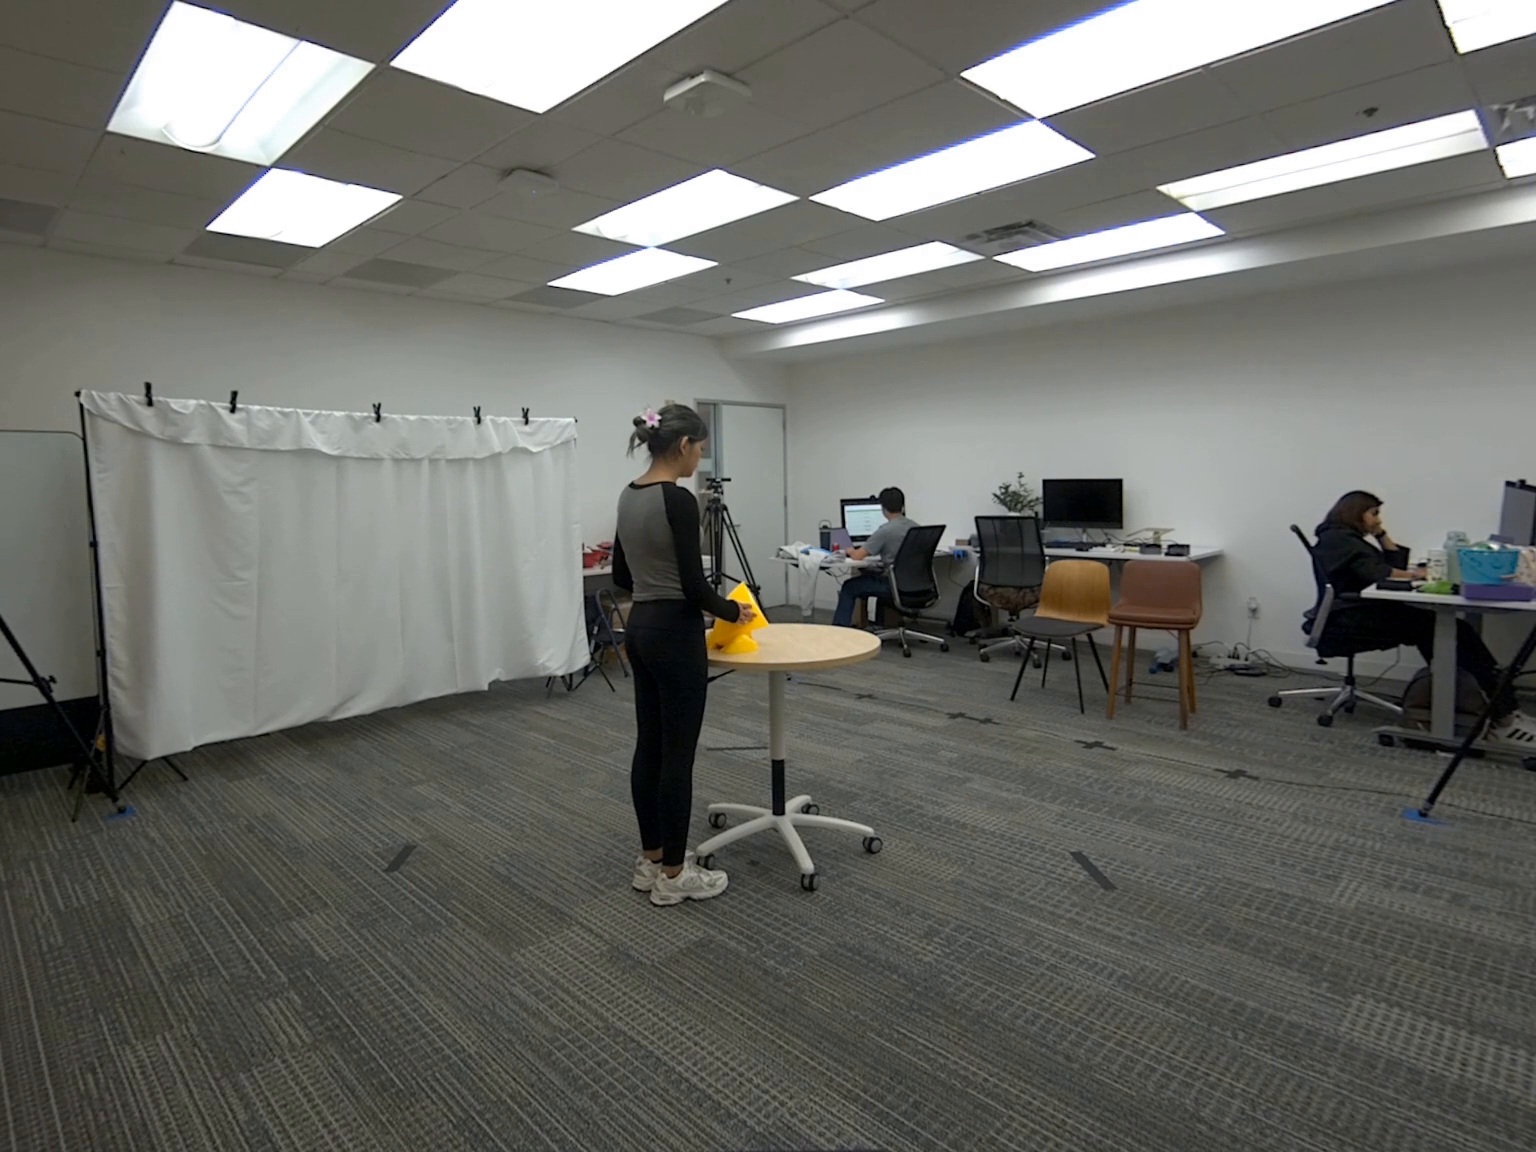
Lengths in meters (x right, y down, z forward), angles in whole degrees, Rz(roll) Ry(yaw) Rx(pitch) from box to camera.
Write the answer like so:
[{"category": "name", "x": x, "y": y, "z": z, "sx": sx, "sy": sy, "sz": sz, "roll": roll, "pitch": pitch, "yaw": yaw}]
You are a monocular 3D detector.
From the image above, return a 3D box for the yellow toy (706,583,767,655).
[{"category": "yellow toy", "x": -0.130, "y": 0.142, "z": 3.058, "sx": 0.188, "sy": 0.229, "sz": 0.211, "roll": -8, "pitch": 8, "yaw": -42}]
